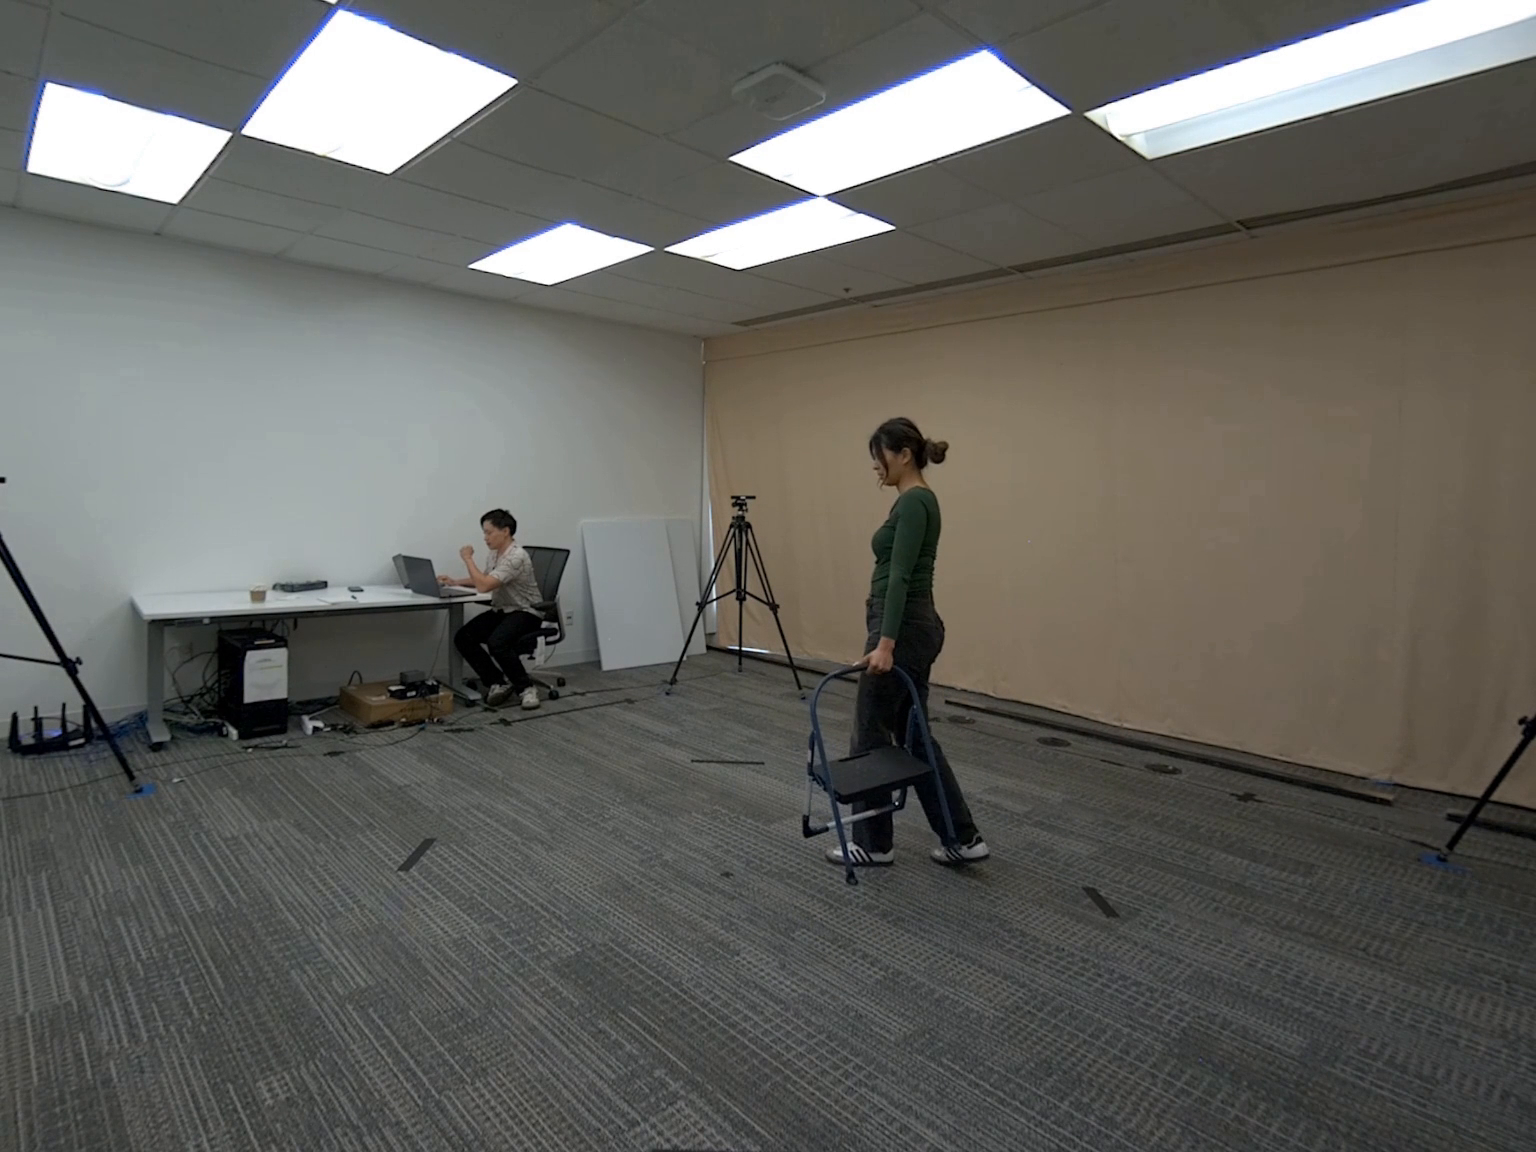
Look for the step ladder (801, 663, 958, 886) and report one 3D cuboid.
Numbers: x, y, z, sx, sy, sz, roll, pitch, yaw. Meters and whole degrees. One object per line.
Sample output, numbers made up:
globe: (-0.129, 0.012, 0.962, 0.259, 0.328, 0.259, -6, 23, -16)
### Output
step ladder: (0.348, 0.618, 2.806, 0.424, 0.601, 0.357, -9, 12, -24)
